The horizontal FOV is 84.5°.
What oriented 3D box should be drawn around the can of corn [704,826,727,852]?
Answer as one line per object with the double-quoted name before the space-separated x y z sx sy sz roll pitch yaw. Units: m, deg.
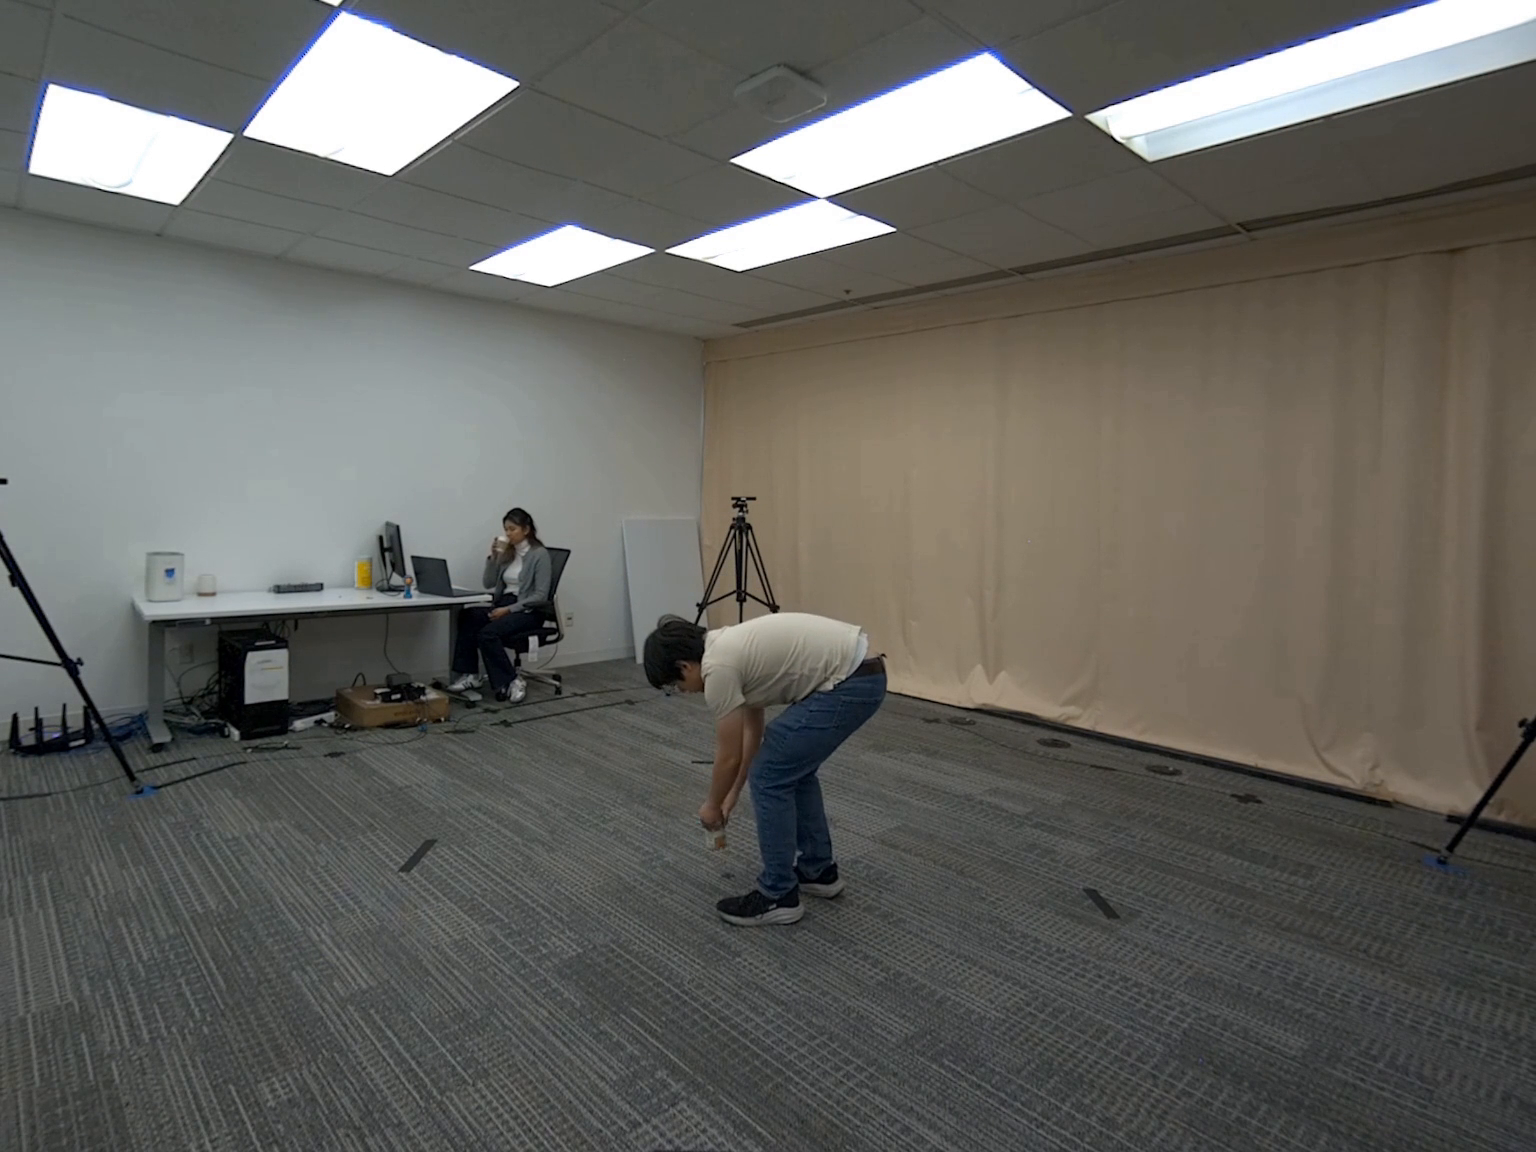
"can of corn" -0.189 0.935 3.082 0.074 0.111 0.074 -6 -1 -1
